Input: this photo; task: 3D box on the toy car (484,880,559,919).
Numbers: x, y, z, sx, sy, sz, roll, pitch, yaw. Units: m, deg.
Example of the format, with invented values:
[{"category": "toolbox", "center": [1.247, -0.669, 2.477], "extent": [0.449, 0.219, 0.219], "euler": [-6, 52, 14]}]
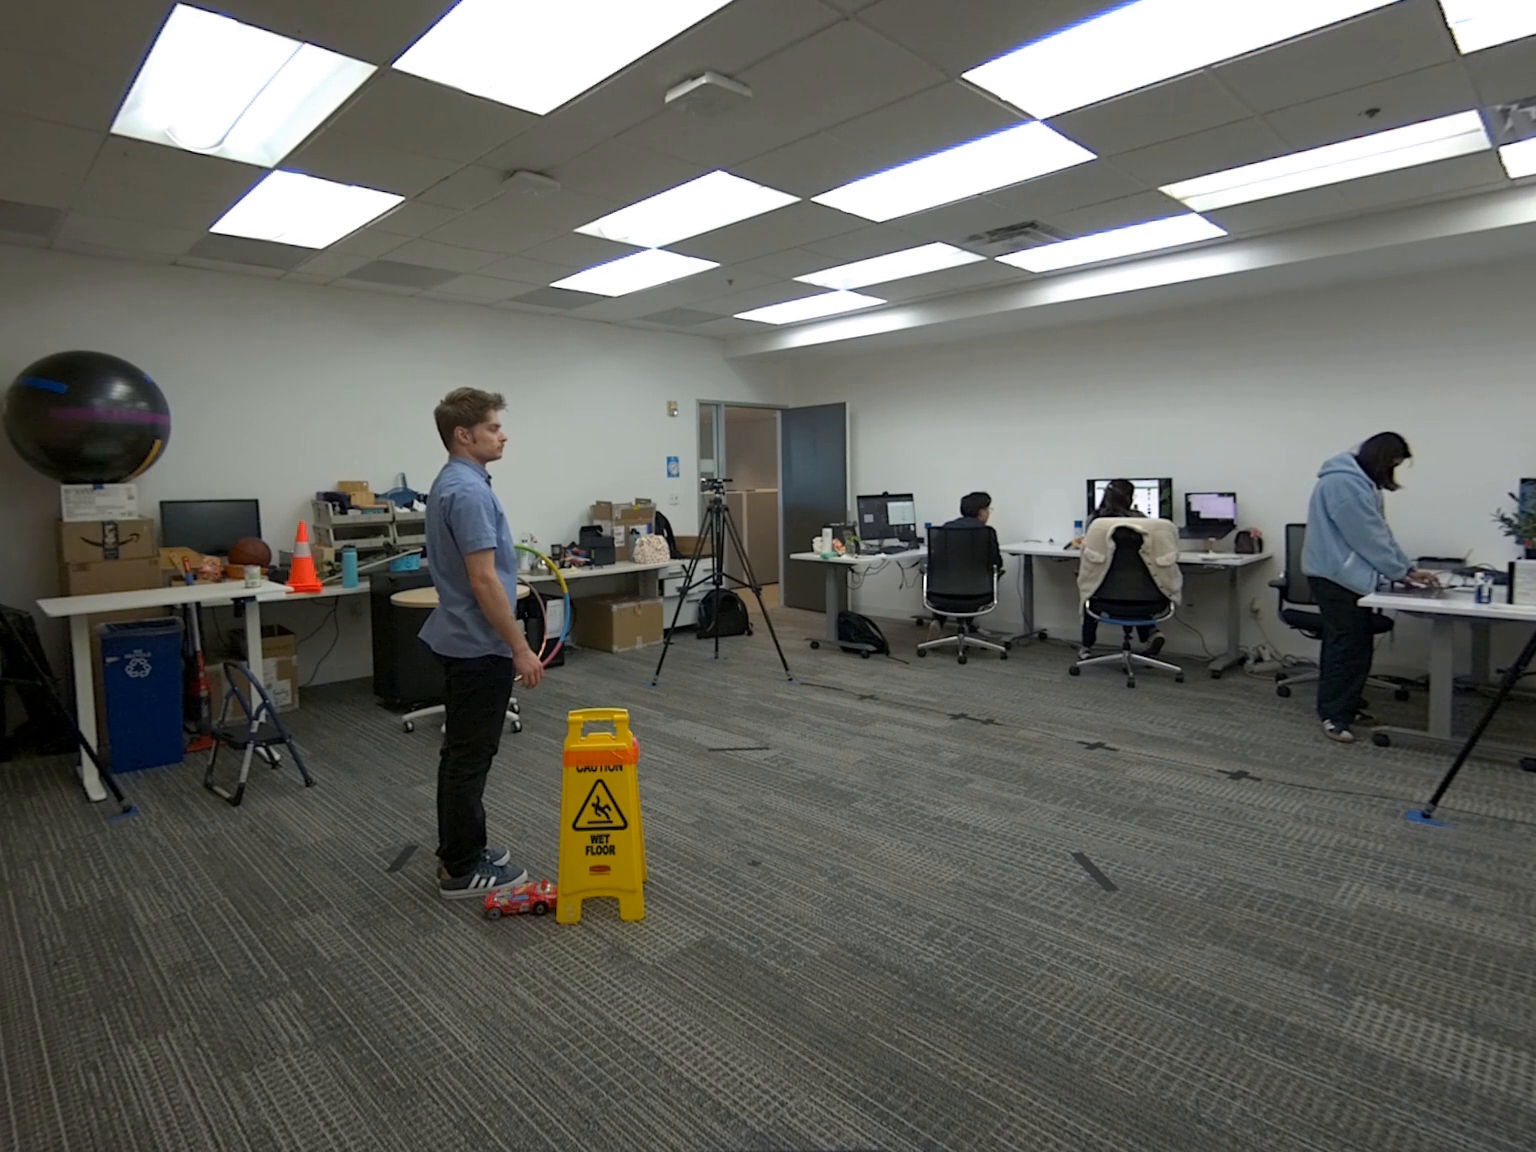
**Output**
[{"category": "toy car", "center": [-0.792, 1.063, 2.805], "extent": [0.253, 0.083, 0.131], "euler": [-13, 7, -6]}]
